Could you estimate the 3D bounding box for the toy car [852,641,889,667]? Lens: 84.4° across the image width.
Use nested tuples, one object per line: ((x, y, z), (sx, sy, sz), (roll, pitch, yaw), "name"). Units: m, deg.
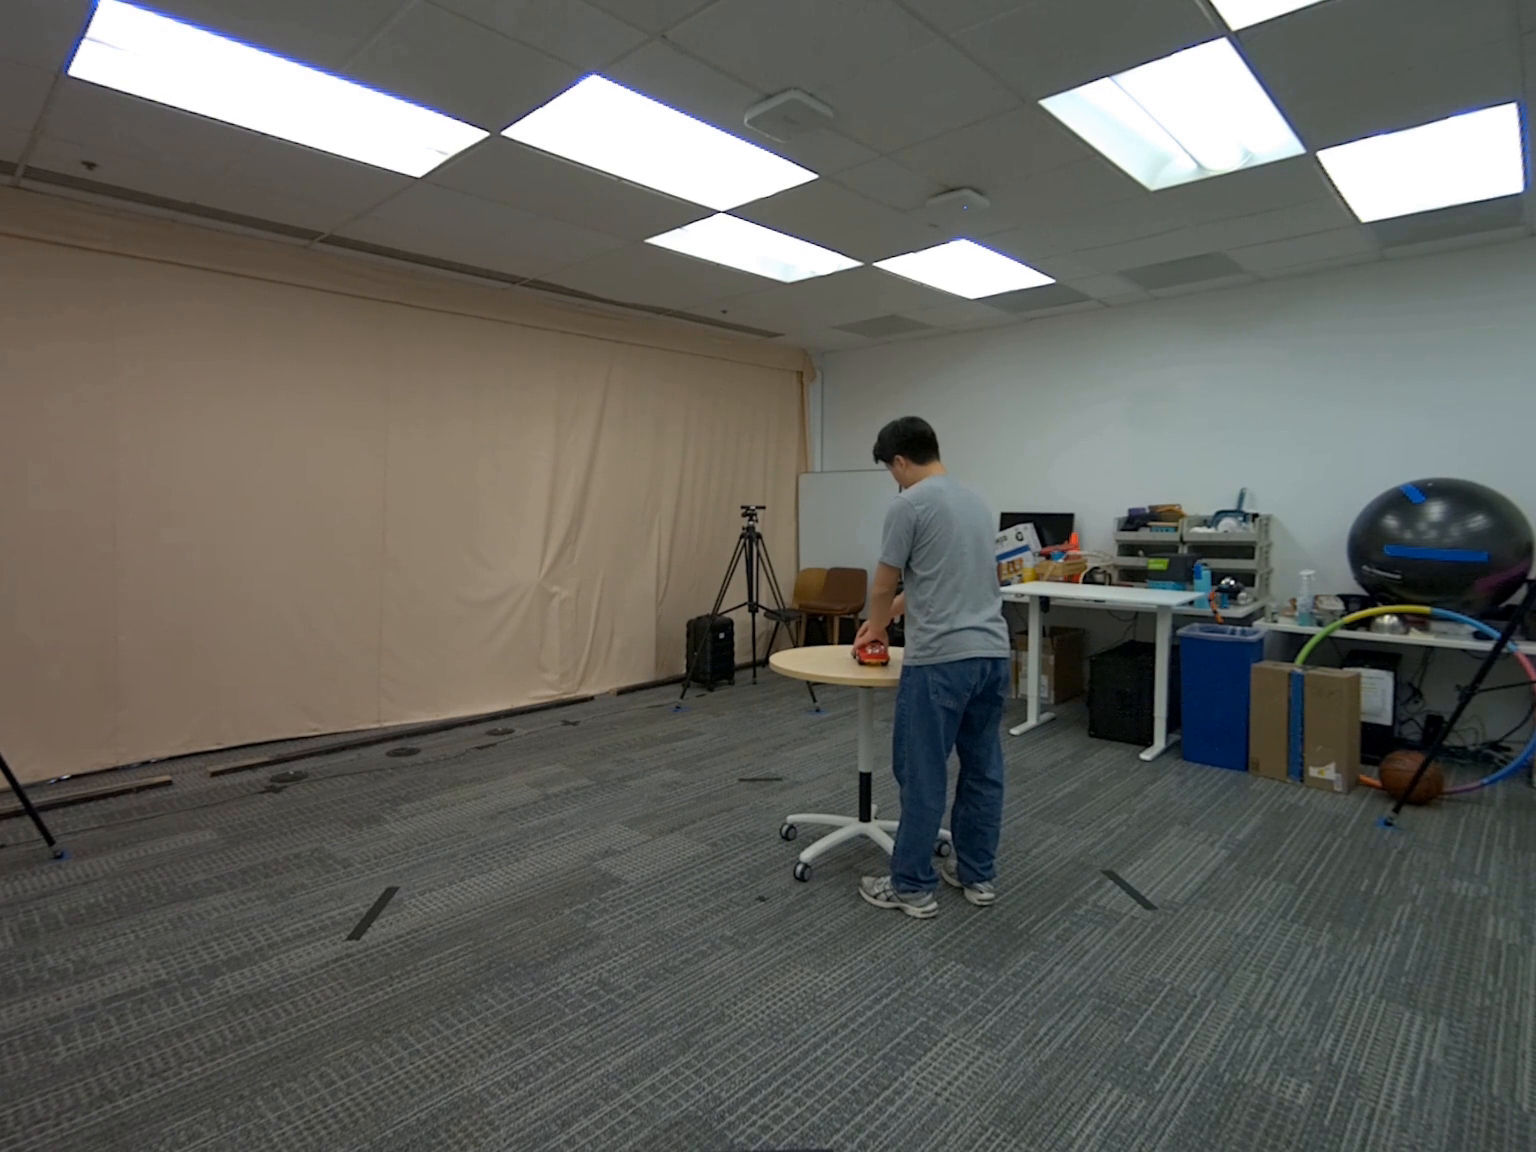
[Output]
((0.406, 0.306, 3.263), (0.130, 0.083, 0.253), (1, -7, -2), "toy car")
